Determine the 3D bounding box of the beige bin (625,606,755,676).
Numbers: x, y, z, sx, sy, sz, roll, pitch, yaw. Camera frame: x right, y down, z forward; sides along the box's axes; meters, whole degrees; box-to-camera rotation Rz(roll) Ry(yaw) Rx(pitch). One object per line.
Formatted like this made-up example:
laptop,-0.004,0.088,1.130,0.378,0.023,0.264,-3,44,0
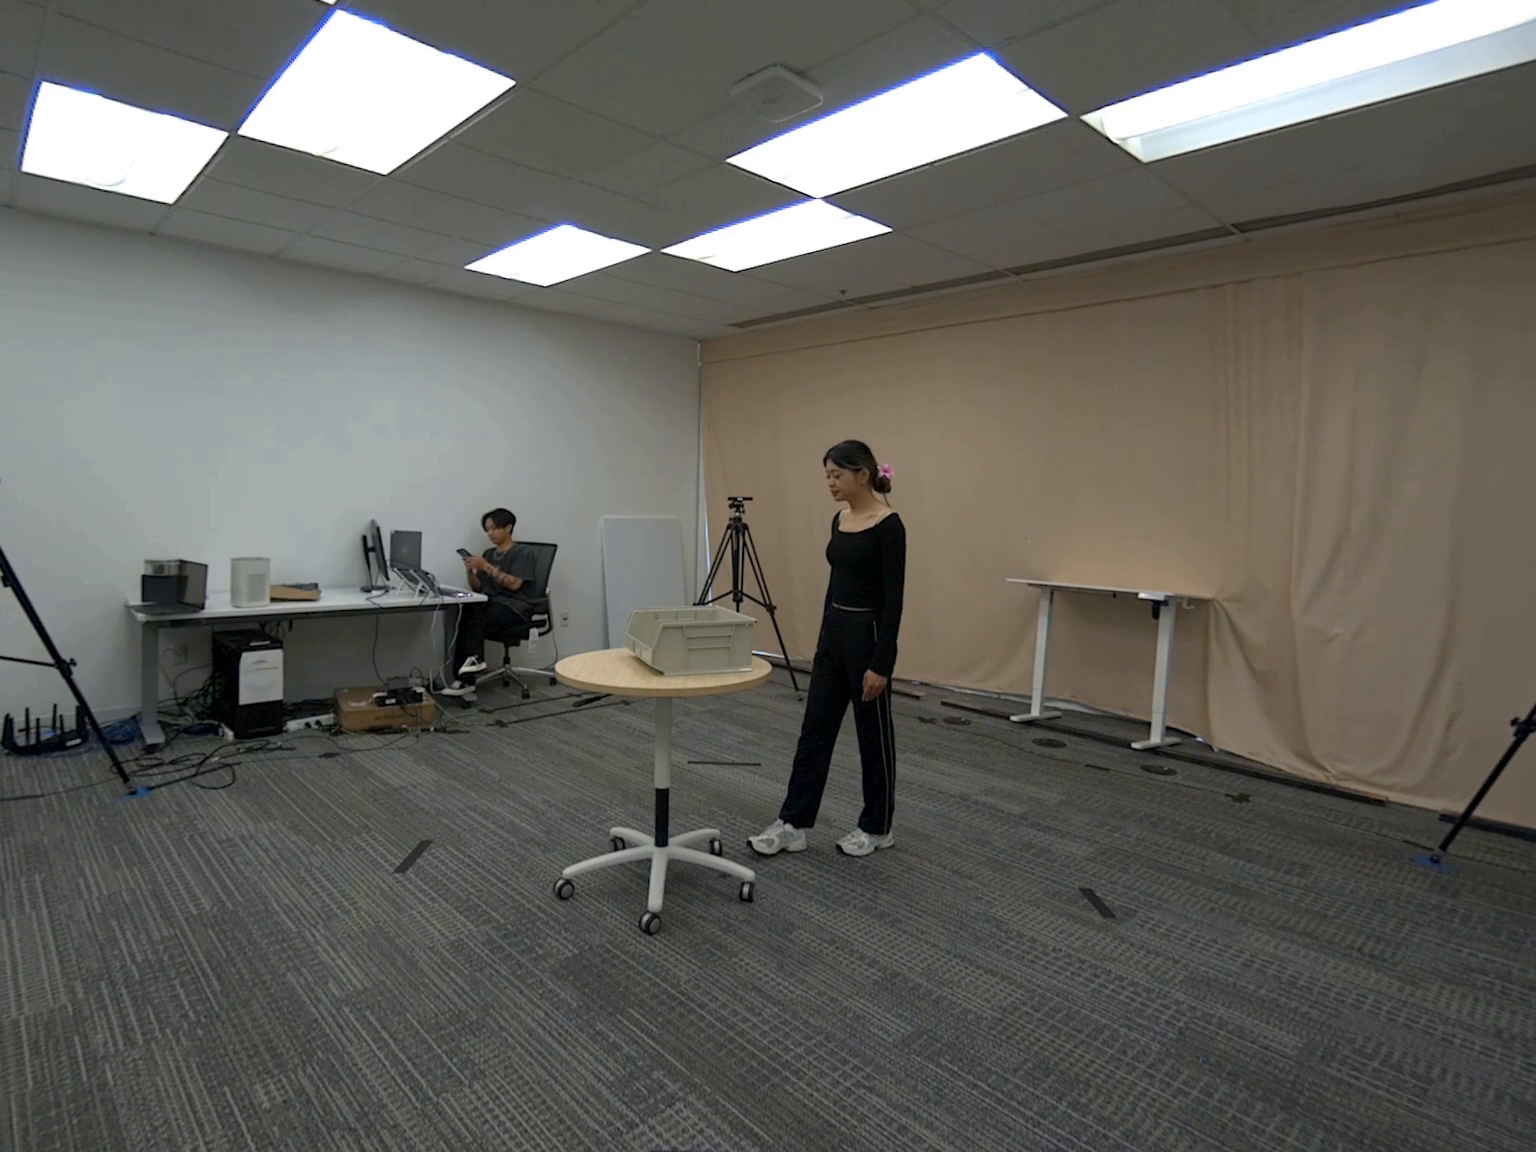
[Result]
beige bin,-0.297,0.227,3.030,0.371,0.188,0.430,0,4,-21
